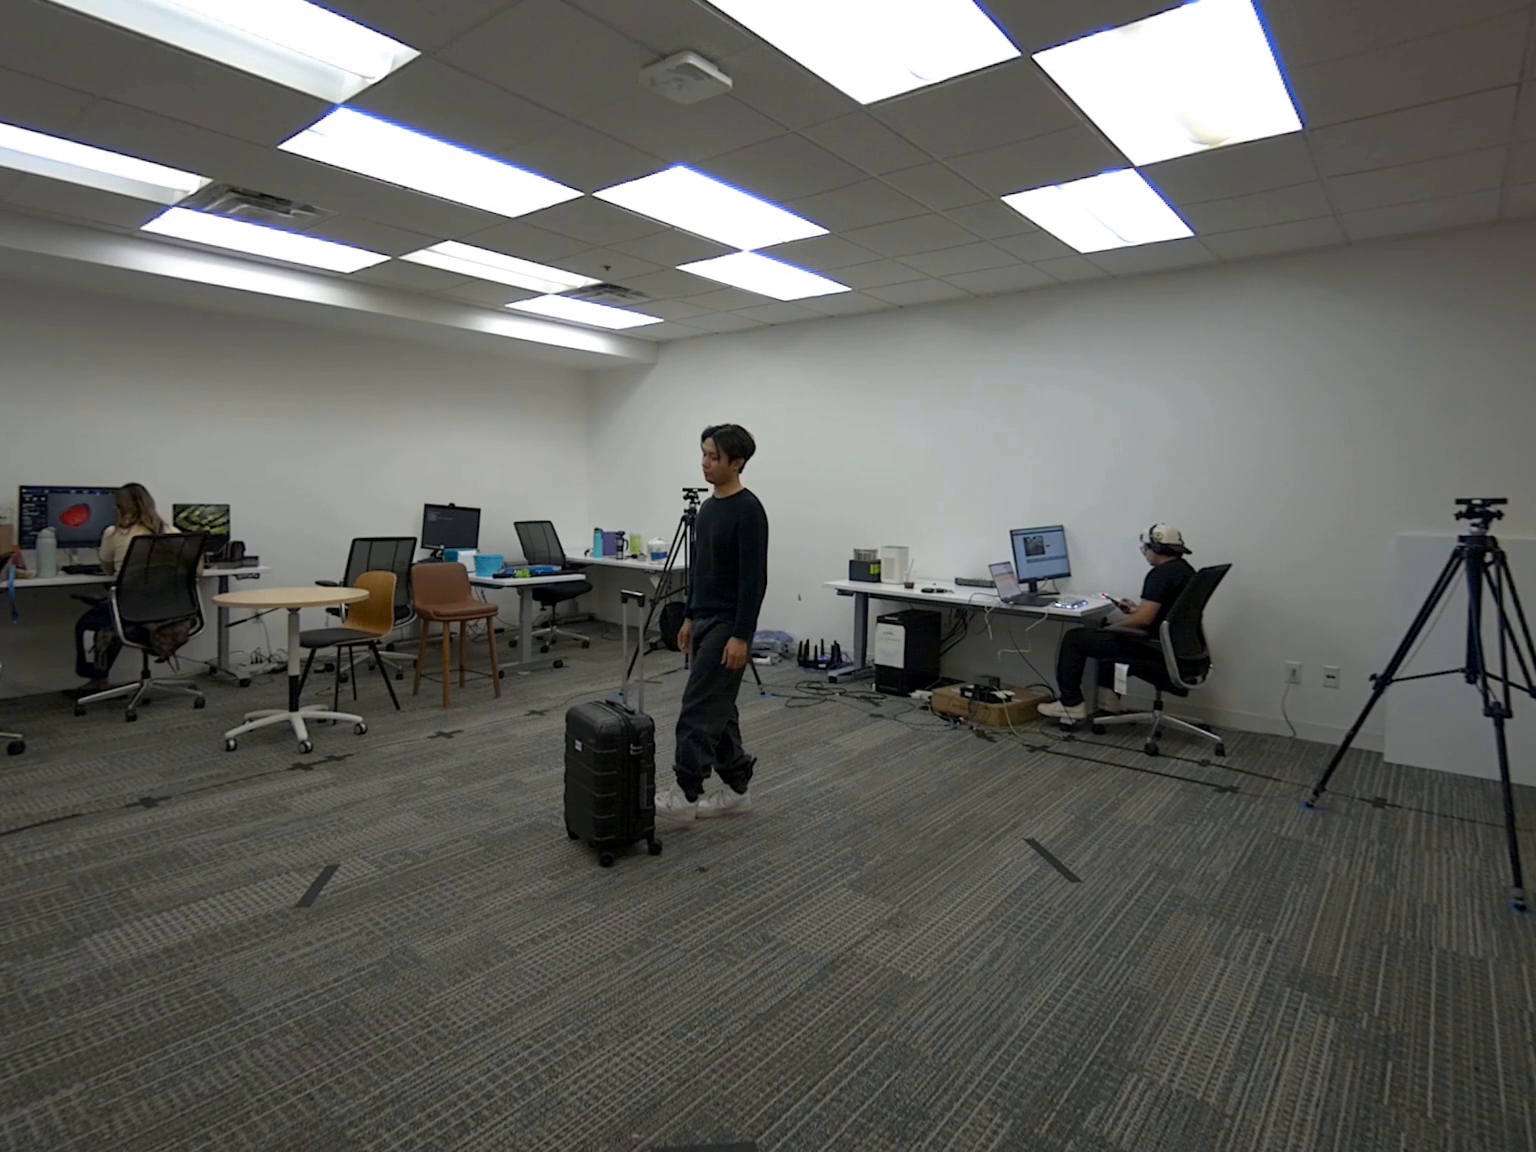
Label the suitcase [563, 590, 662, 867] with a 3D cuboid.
[{"bbox_3d":[-0.634,0.569,3.268,0.250,0.975,0.396,-4,4,-32],"label":"suitcase"}]
